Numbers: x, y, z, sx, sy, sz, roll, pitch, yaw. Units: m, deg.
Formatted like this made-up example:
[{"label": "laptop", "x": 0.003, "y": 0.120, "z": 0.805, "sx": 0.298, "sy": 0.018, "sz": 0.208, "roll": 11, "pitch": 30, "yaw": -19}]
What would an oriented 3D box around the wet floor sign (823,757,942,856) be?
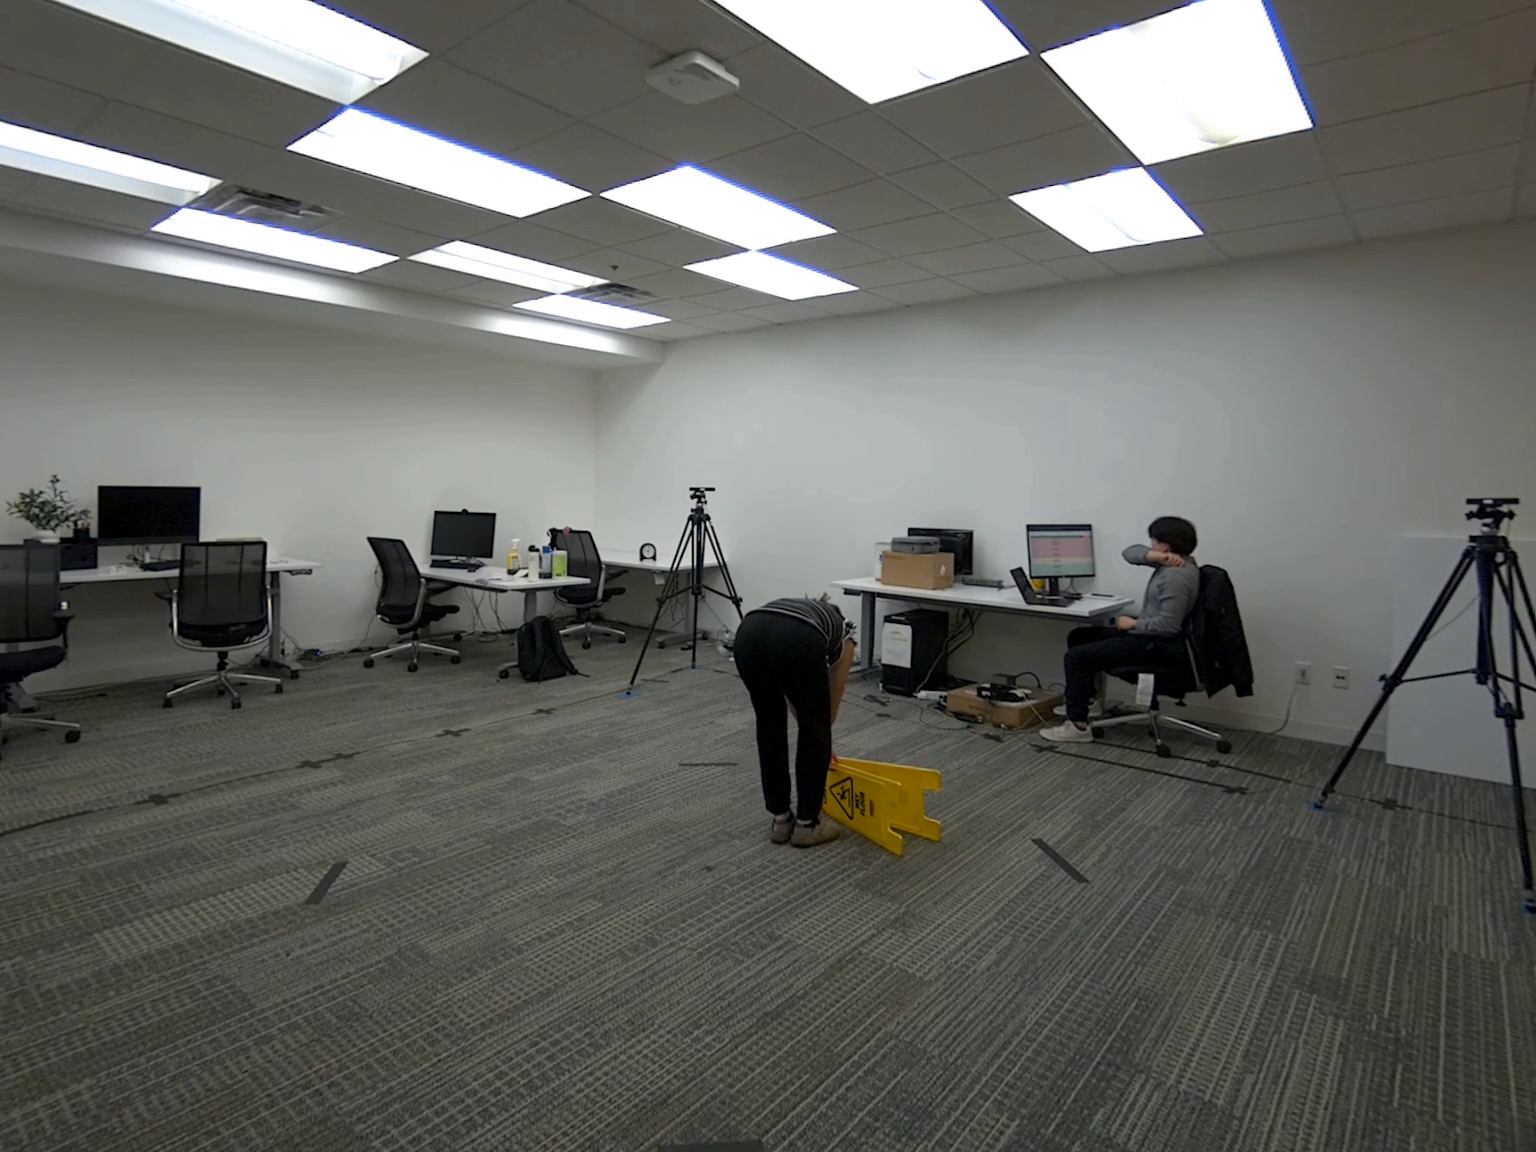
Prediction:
[{"label": "wet floor sign", "x": 0.375, "y": 0.912, "z": 3.576, "sx": 0.281, "sy": 0.282, "sz": 0.667, "roll": 0, "pitch": 3, "yaw": -41}]
